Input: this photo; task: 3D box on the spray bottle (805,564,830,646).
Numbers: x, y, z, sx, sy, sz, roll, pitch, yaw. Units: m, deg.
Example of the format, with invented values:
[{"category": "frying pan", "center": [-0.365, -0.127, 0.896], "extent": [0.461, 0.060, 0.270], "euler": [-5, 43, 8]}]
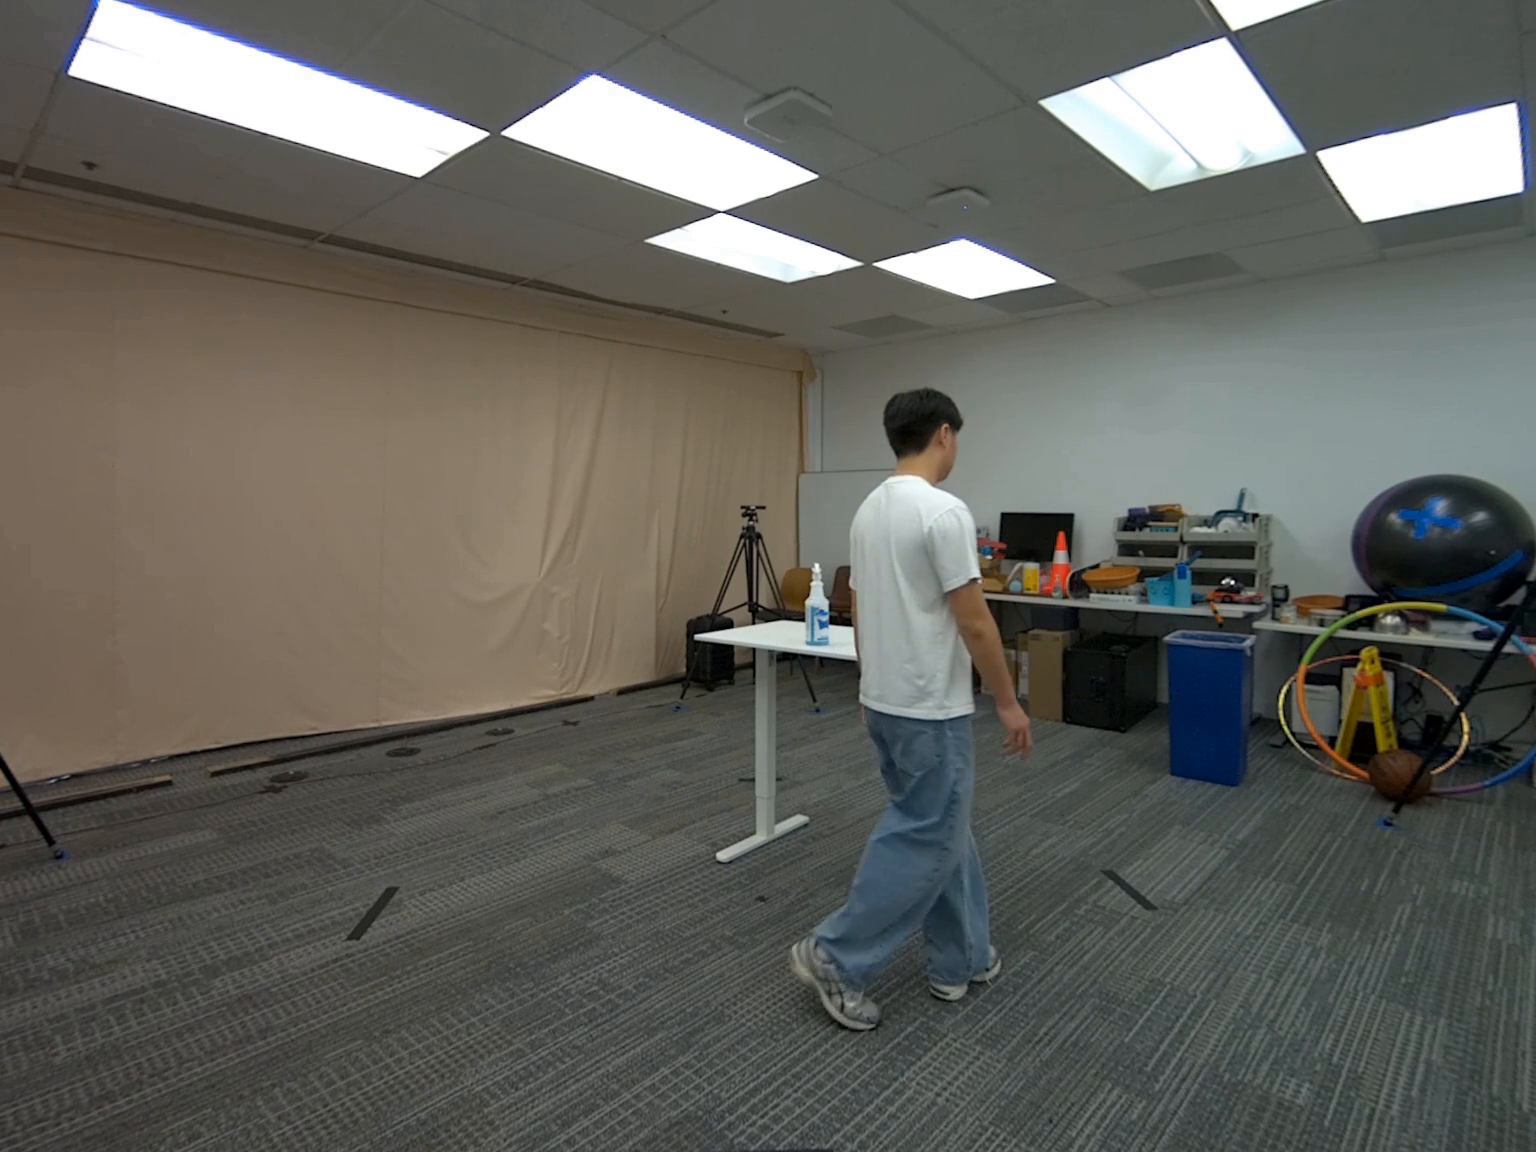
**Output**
[{"category": "spray bottle", "center": [0.184, 0.107, 3.081], "extent": [0.089, 0.297, 0.088], "euler": [2, 2, 27]}]
